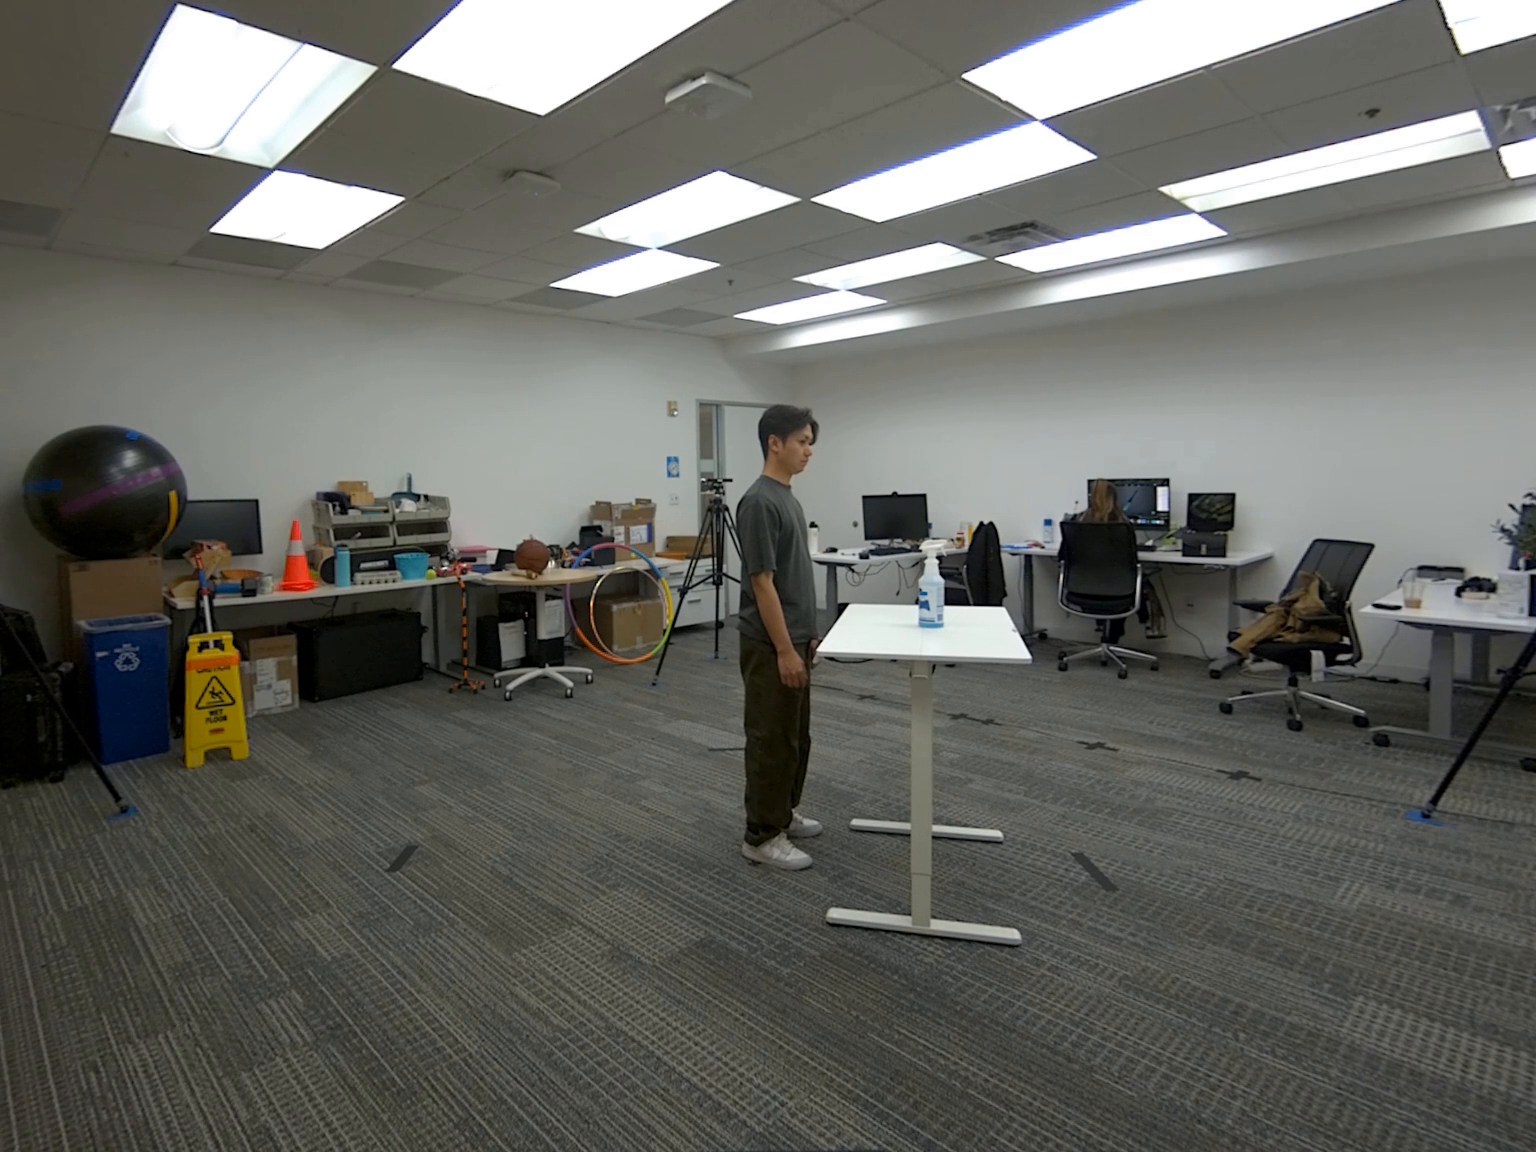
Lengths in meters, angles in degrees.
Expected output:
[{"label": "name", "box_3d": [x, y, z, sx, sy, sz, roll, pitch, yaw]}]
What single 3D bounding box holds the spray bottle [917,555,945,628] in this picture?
[{"label": "spray bottle", "box_3d": [0.559, 0.025, 2.923, 0.092, 0.296, 0.085, 2, 3, 27]}]
